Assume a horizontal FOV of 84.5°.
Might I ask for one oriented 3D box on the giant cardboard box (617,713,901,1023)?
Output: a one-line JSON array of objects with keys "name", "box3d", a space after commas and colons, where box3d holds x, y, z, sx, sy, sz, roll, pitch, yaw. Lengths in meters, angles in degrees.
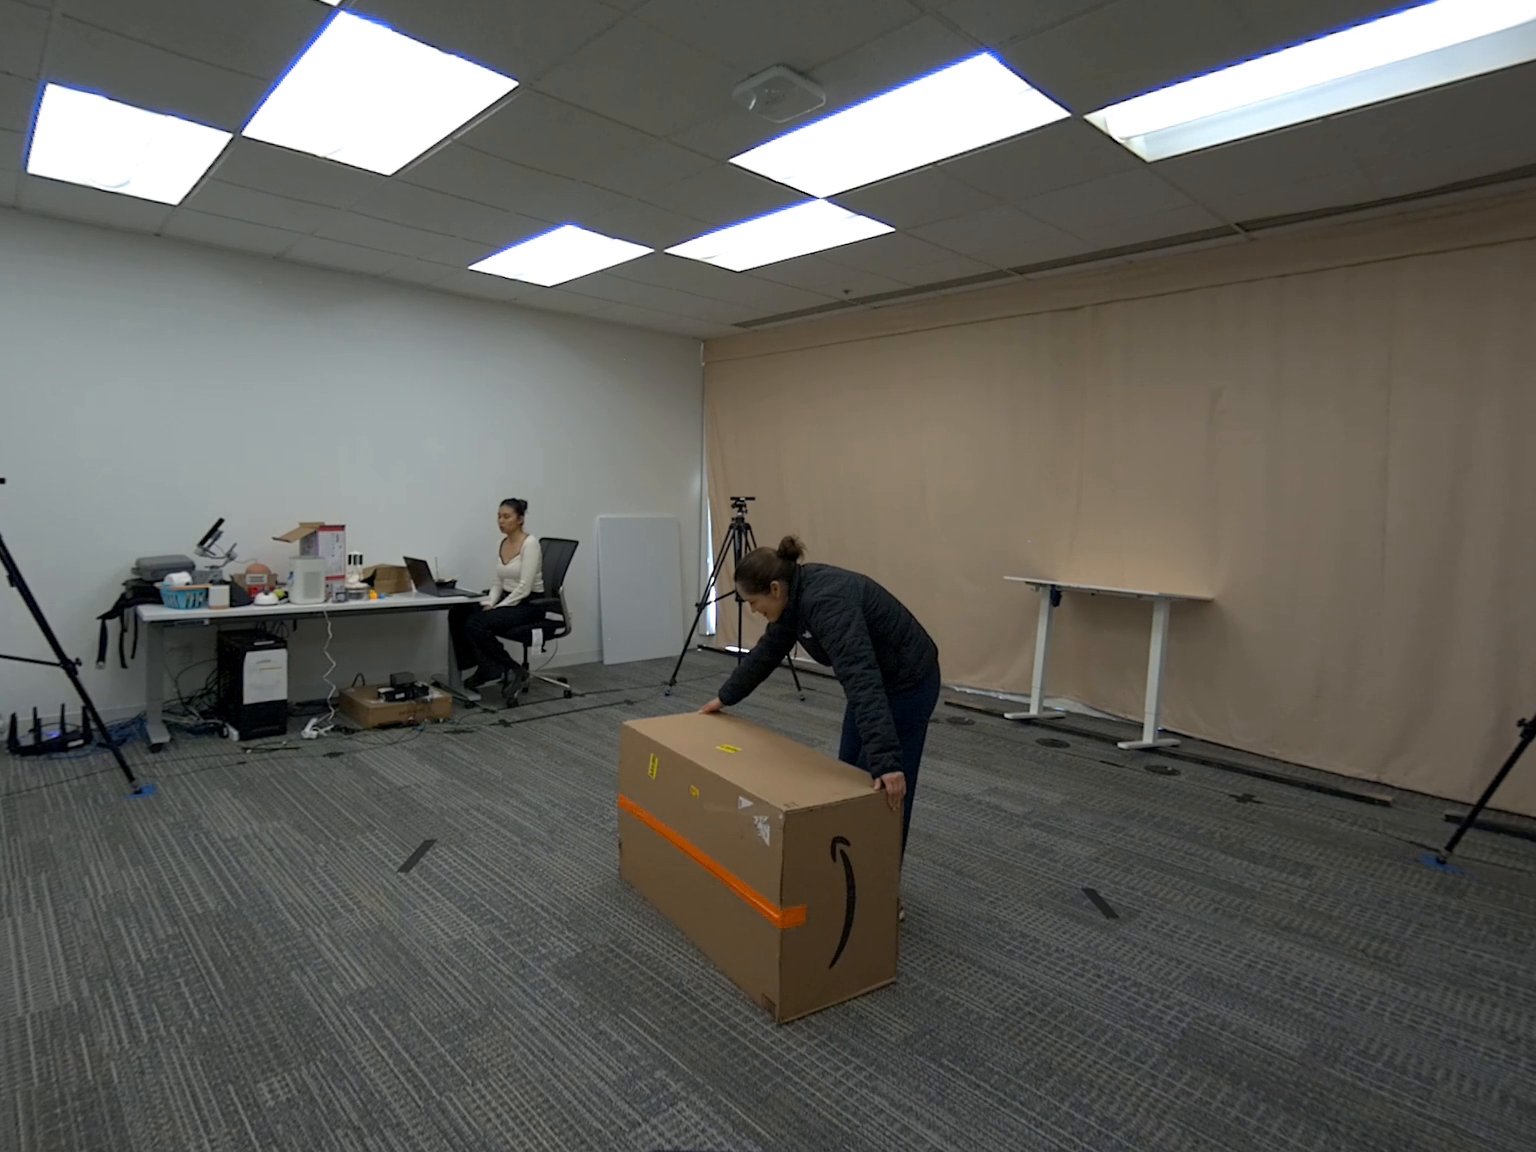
[{"name": "giant cardboard box", "box3d": [-0.083, 0.857, 2.737, 0.437, 0.582, 1.052, -2, 5, -34]}]
